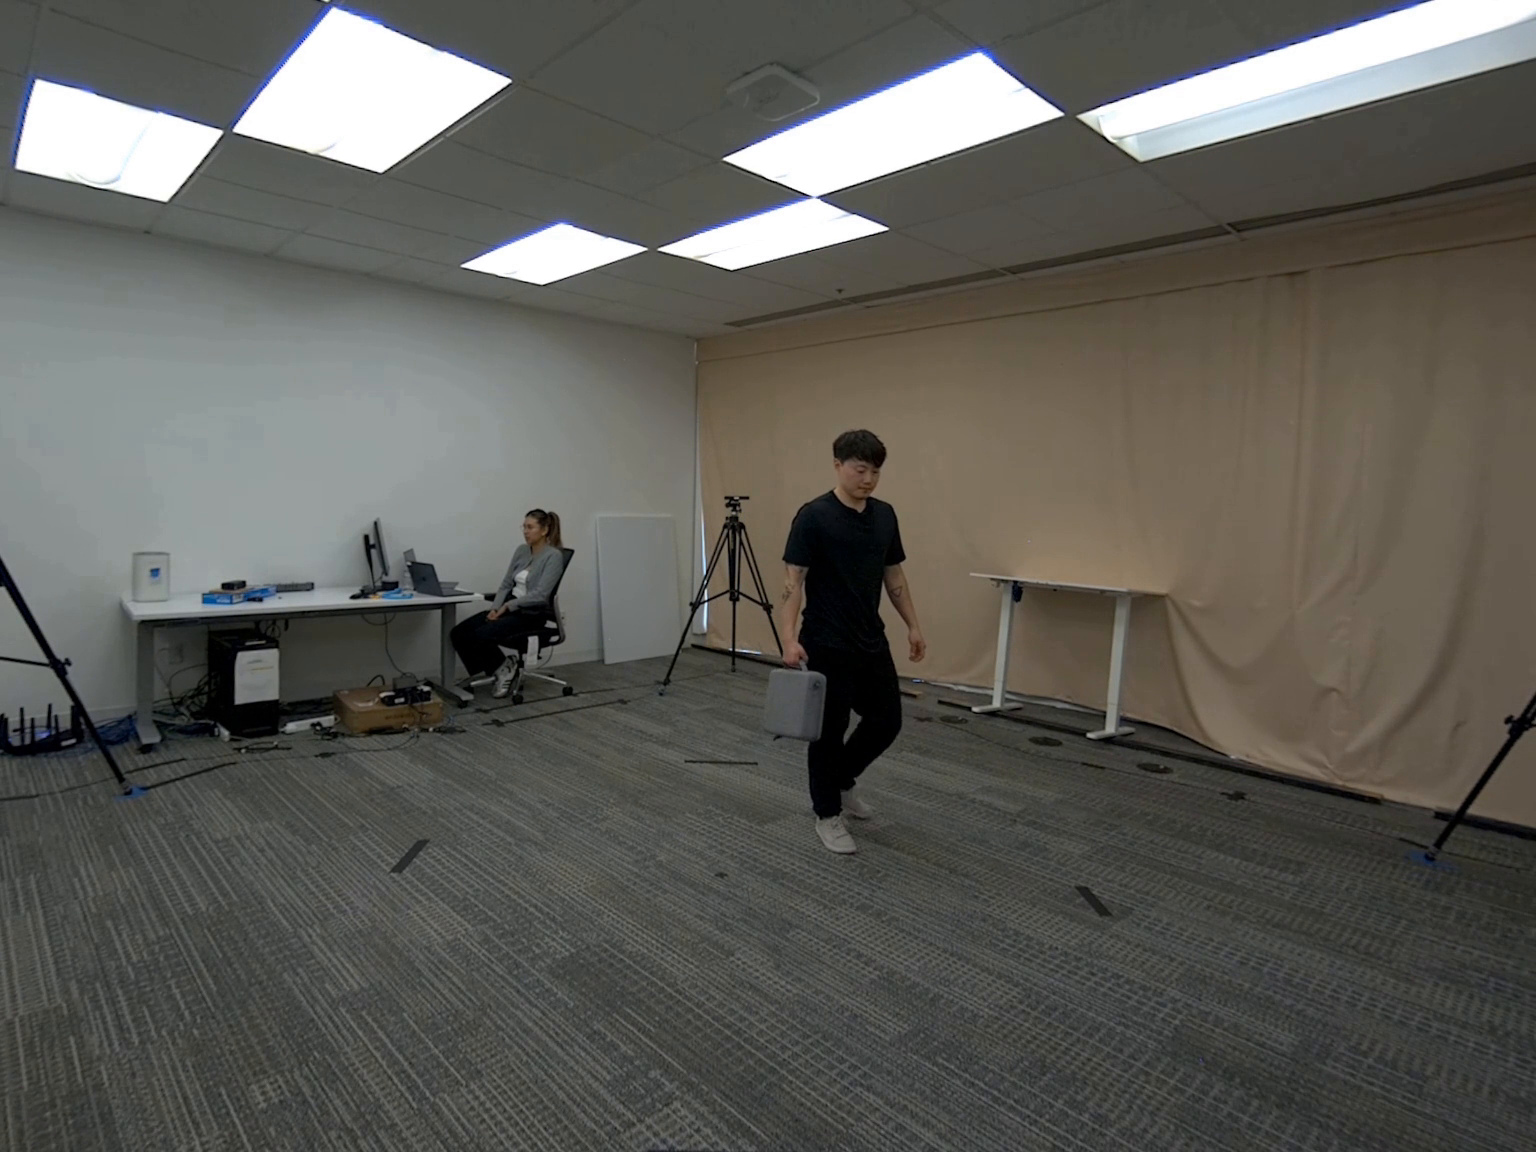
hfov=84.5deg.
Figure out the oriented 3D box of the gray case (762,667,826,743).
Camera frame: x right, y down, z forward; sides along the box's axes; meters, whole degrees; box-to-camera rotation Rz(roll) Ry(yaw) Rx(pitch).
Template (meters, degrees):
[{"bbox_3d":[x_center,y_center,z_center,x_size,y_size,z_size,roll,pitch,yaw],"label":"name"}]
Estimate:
[{"bbox_3d":[0.095,0.480,3.205,0.102,0.262,0.262,12,-10,-33],"label":"gray case"}]
